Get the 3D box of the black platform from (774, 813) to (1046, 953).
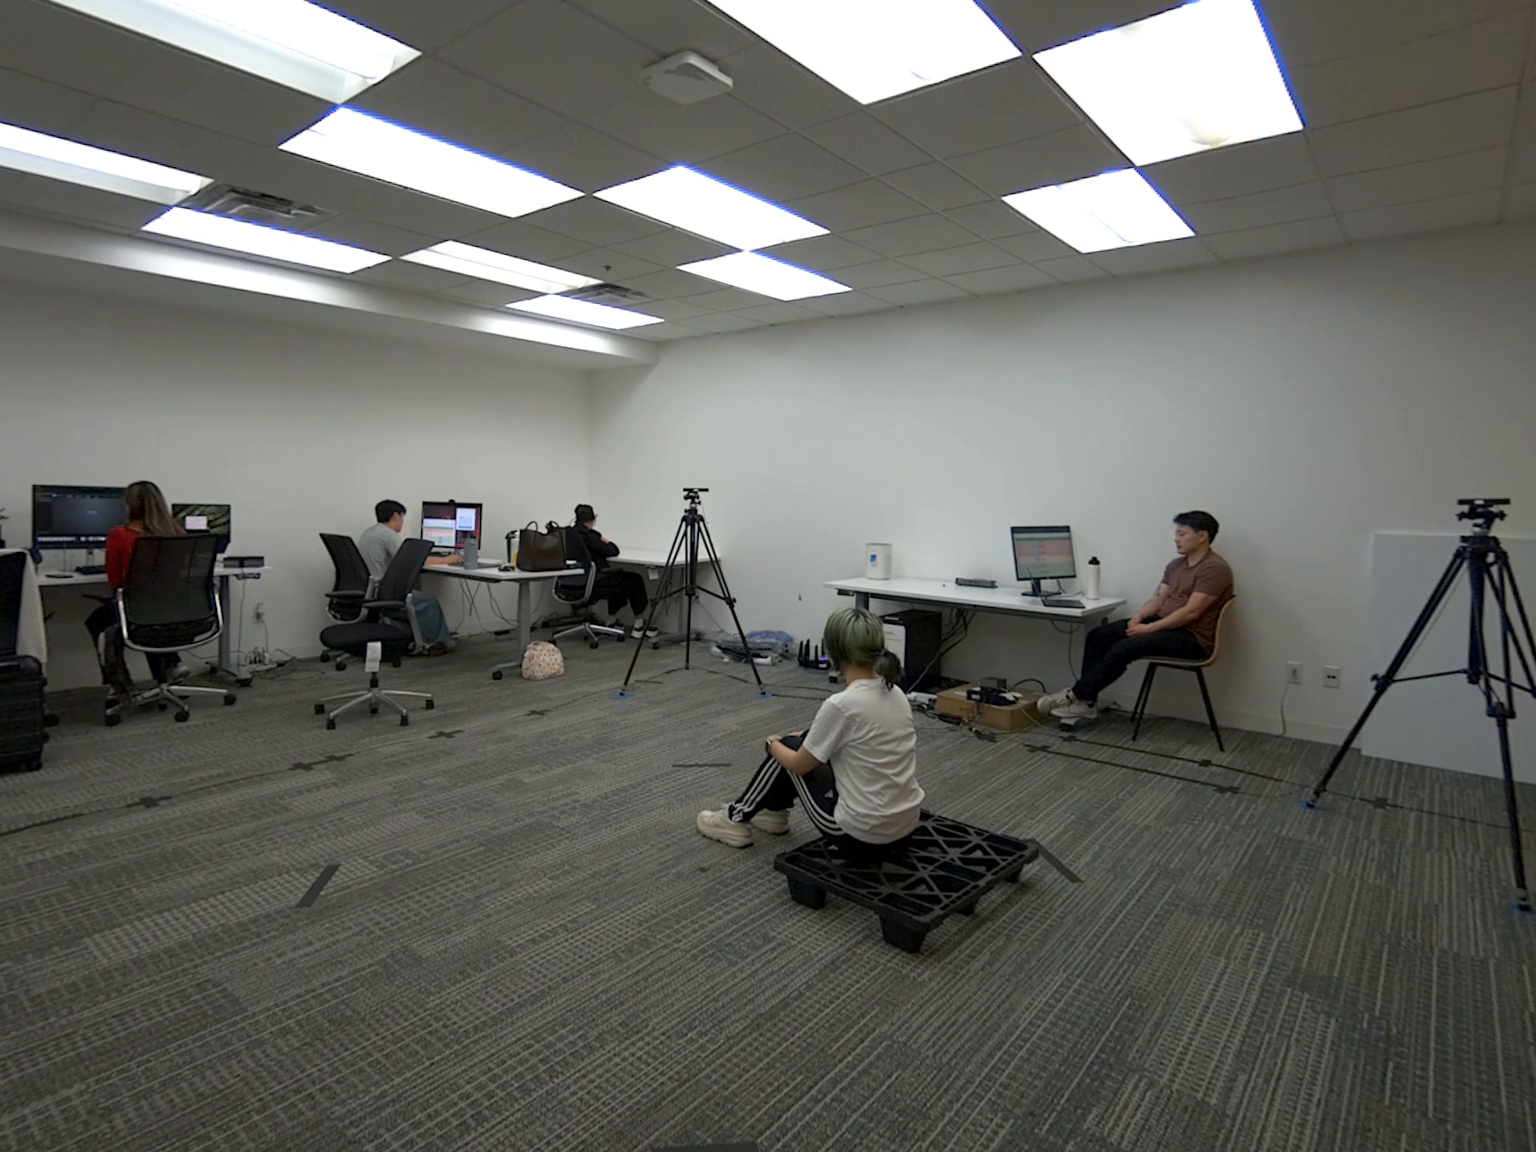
[{"bbox_3d":[0.485,1.029,2.983,0.626,0.143,0.781,6,7,43],"label":"black platform"}]
